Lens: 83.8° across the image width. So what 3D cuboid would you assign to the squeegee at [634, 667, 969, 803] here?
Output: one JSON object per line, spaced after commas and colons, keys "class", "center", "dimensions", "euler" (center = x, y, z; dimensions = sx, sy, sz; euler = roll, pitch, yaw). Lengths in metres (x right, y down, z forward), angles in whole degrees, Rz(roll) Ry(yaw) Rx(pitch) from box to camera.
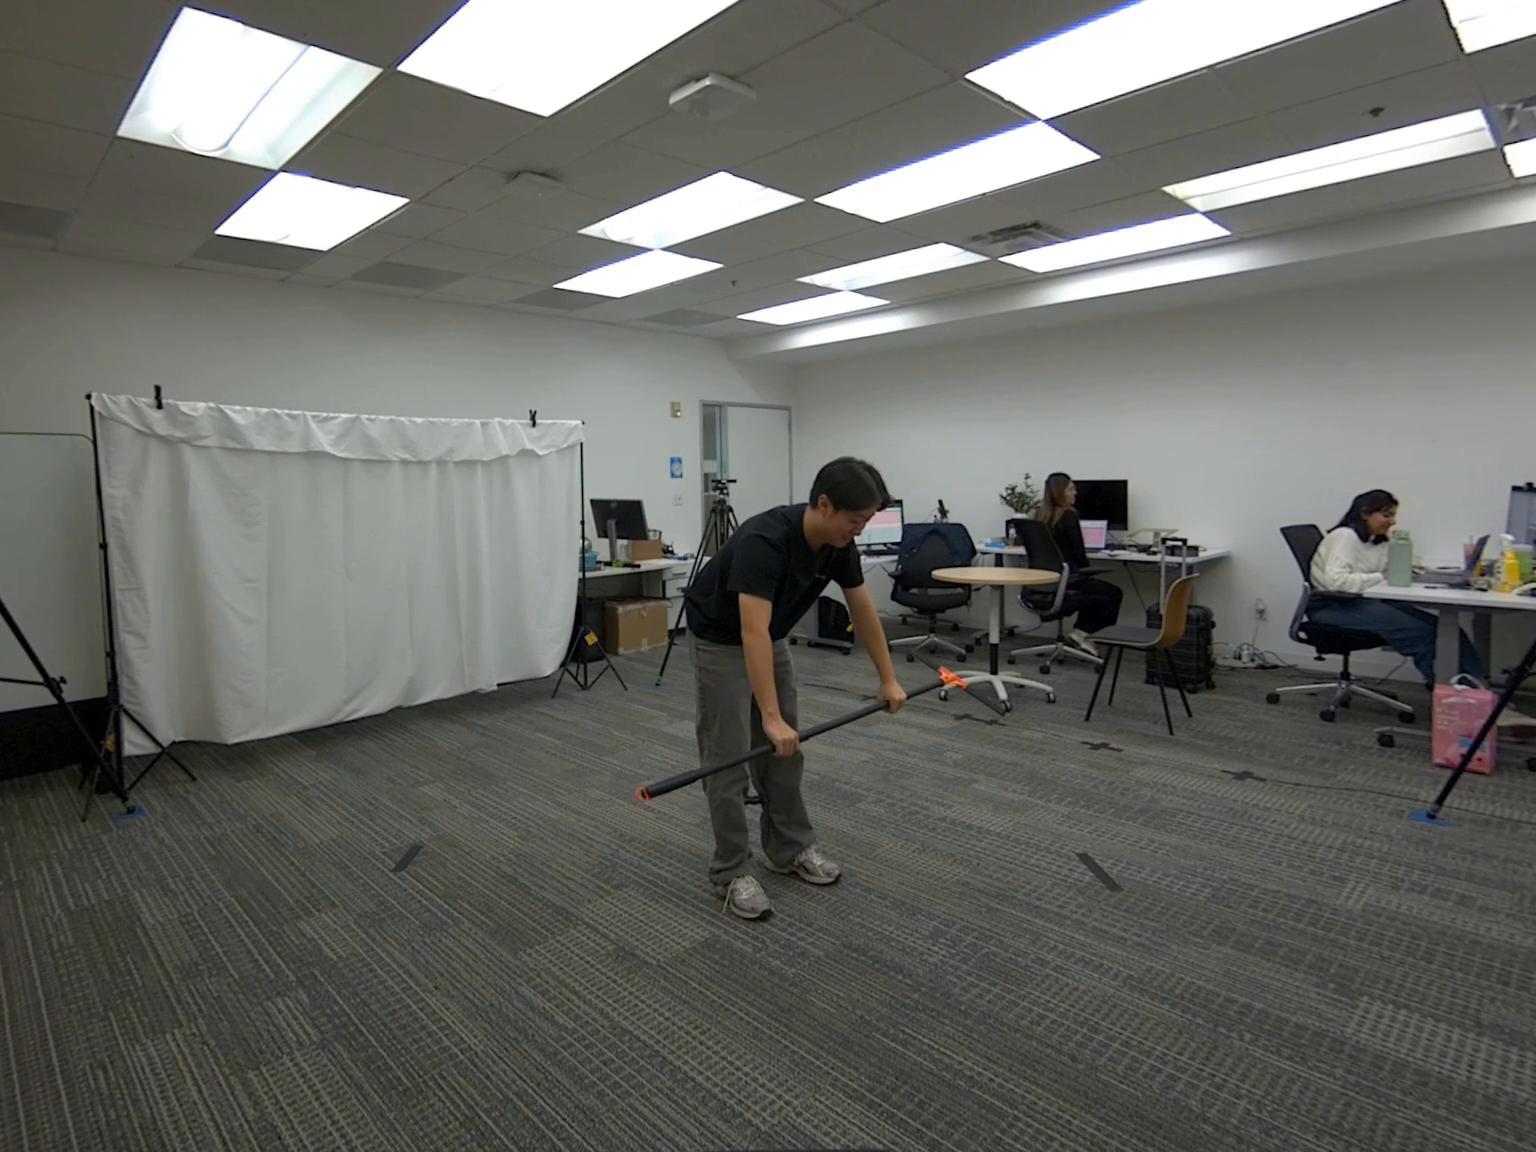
{"class": "squeegee", "center": [0.193, 0.468, 2.643], "dimensions": [1.500, 0.052, 0.454], "euler": [-11, 35, -45]}
